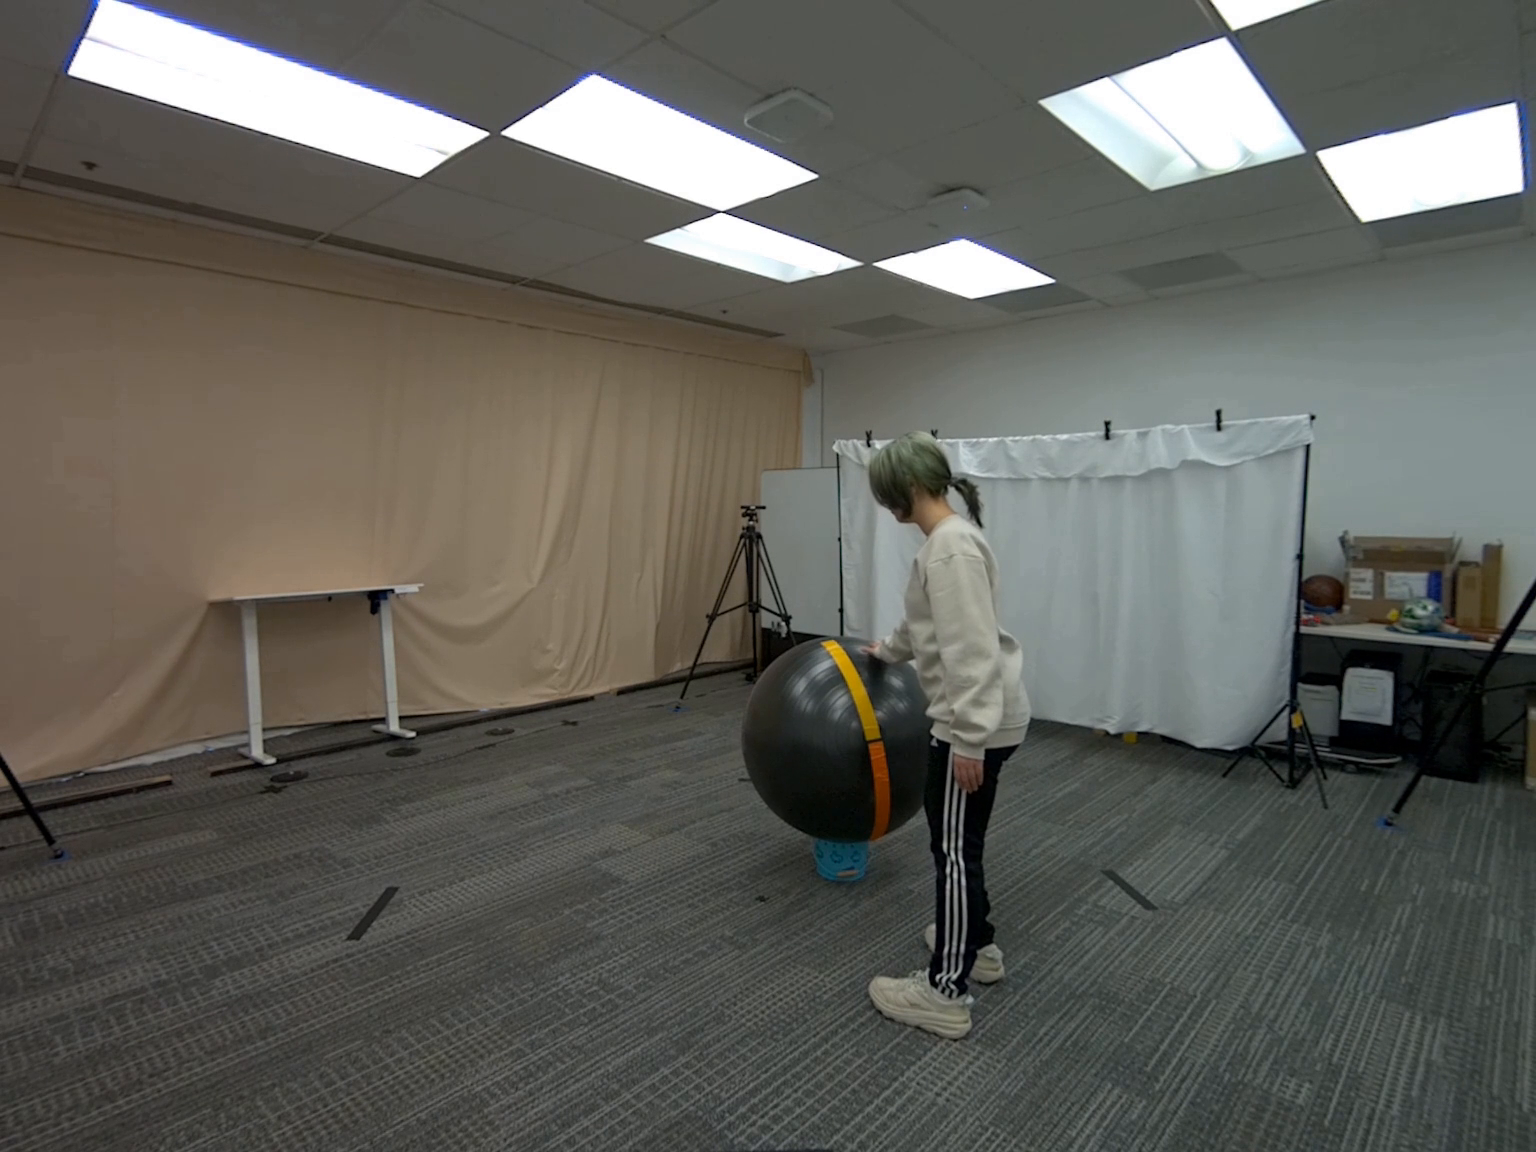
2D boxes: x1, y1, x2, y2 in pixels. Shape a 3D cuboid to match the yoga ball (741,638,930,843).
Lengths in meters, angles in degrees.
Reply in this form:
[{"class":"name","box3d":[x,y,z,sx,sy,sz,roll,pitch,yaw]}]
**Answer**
[{"class":"yoga ball","box3d":[0.281,0.615,3.188,0.757,0.756,0.760,0,4,-2]}]
